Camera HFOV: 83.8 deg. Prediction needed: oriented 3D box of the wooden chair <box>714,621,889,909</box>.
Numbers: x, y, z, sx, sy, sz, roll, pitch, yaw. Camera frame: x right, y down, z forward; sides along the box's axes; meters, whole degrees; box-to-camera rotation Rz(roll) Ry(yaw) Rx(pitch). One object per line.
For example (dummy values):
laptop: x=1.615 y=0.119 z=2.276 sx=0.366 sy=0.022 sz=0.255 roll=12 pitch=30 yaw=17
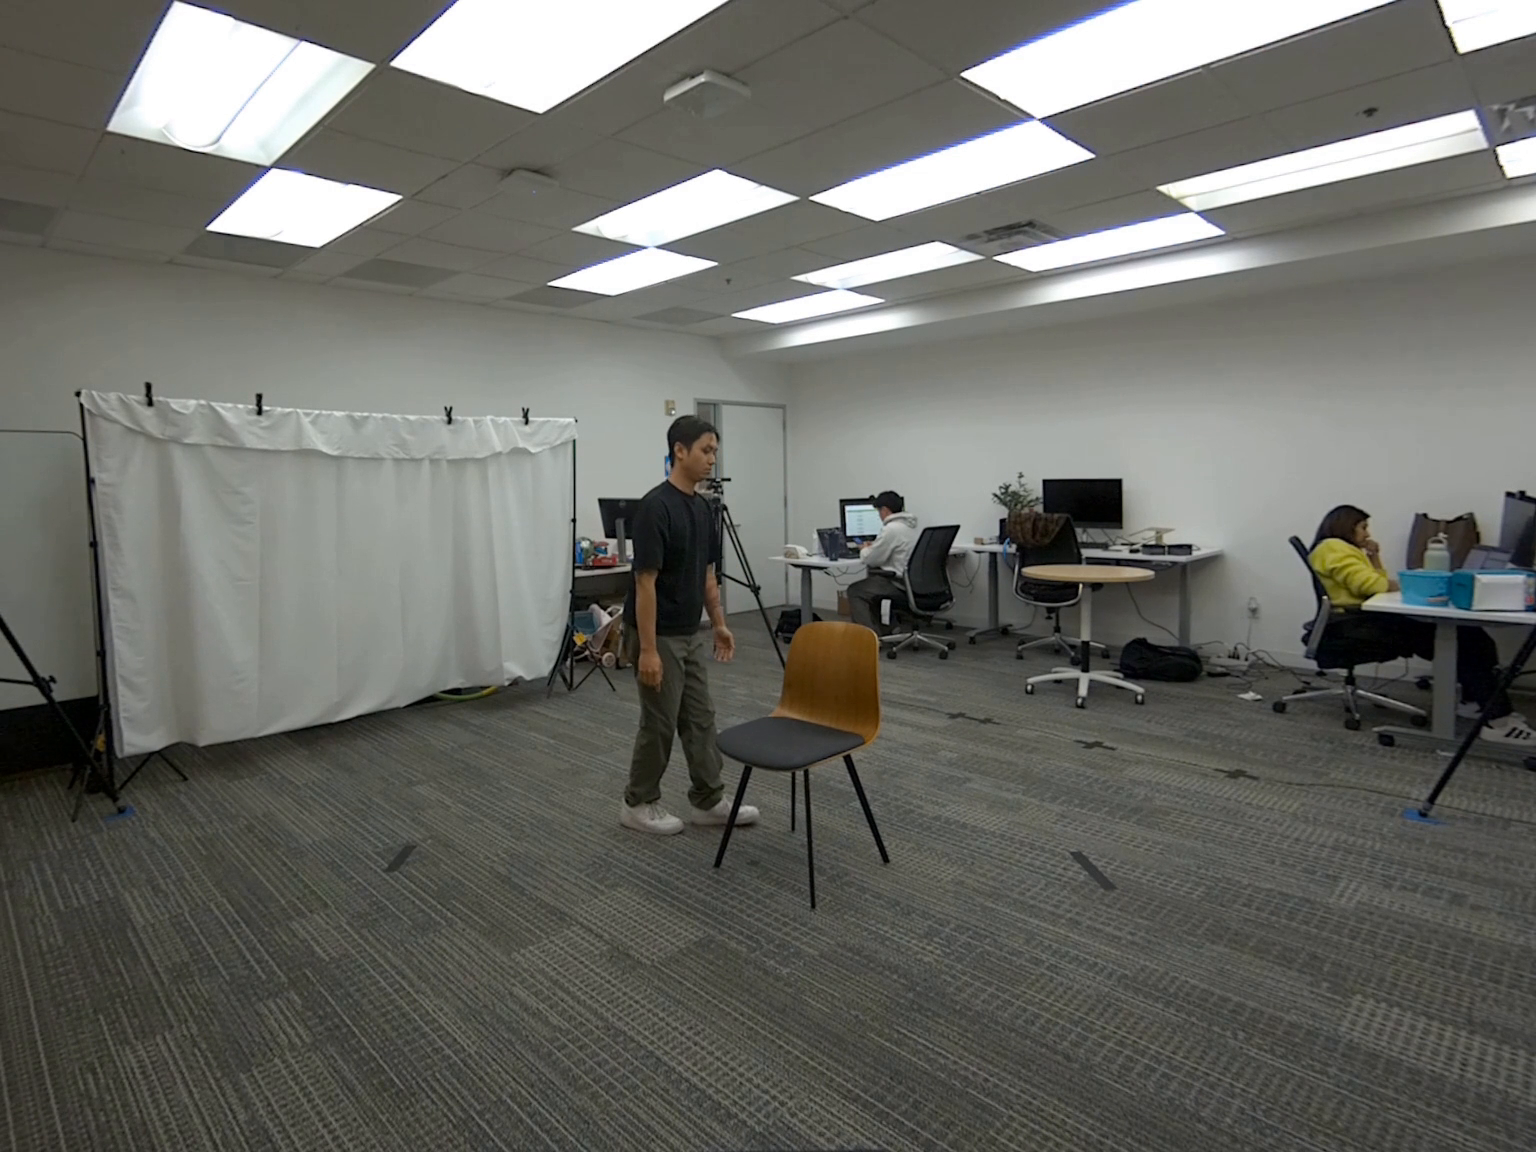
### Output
wooden chair: x=0.112 y=0.617 z=3.033 sx=0.493 sy=0.876 sz=0.508 roll=4 pitch=2 yaw=42
